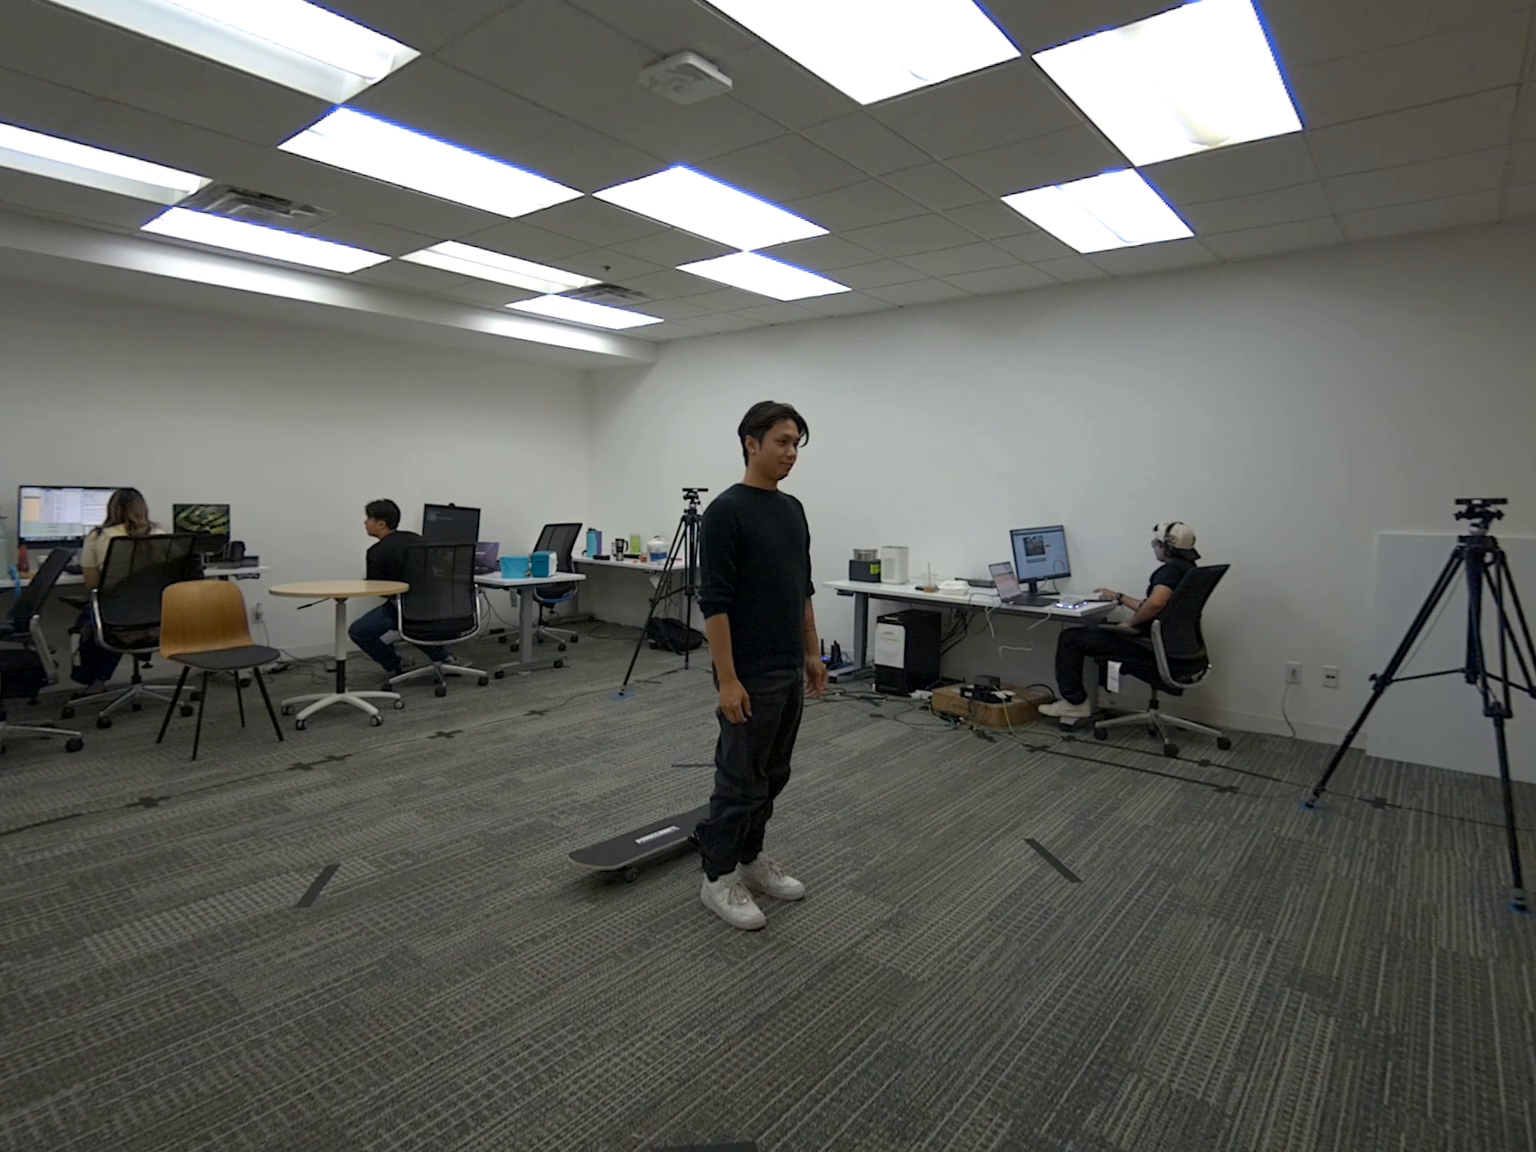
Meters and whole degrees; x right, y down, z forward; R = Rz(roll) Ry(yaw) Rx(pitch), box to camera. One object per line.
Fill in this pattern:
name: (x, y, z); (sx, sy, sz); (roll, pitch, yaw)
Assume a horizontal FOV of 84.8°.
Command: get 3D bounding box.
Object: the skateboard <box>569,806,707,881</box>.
skateboard: (-0.419, 1.000, 3.200); (0.200, 0.110, 0.762); (5, 7, 42)
